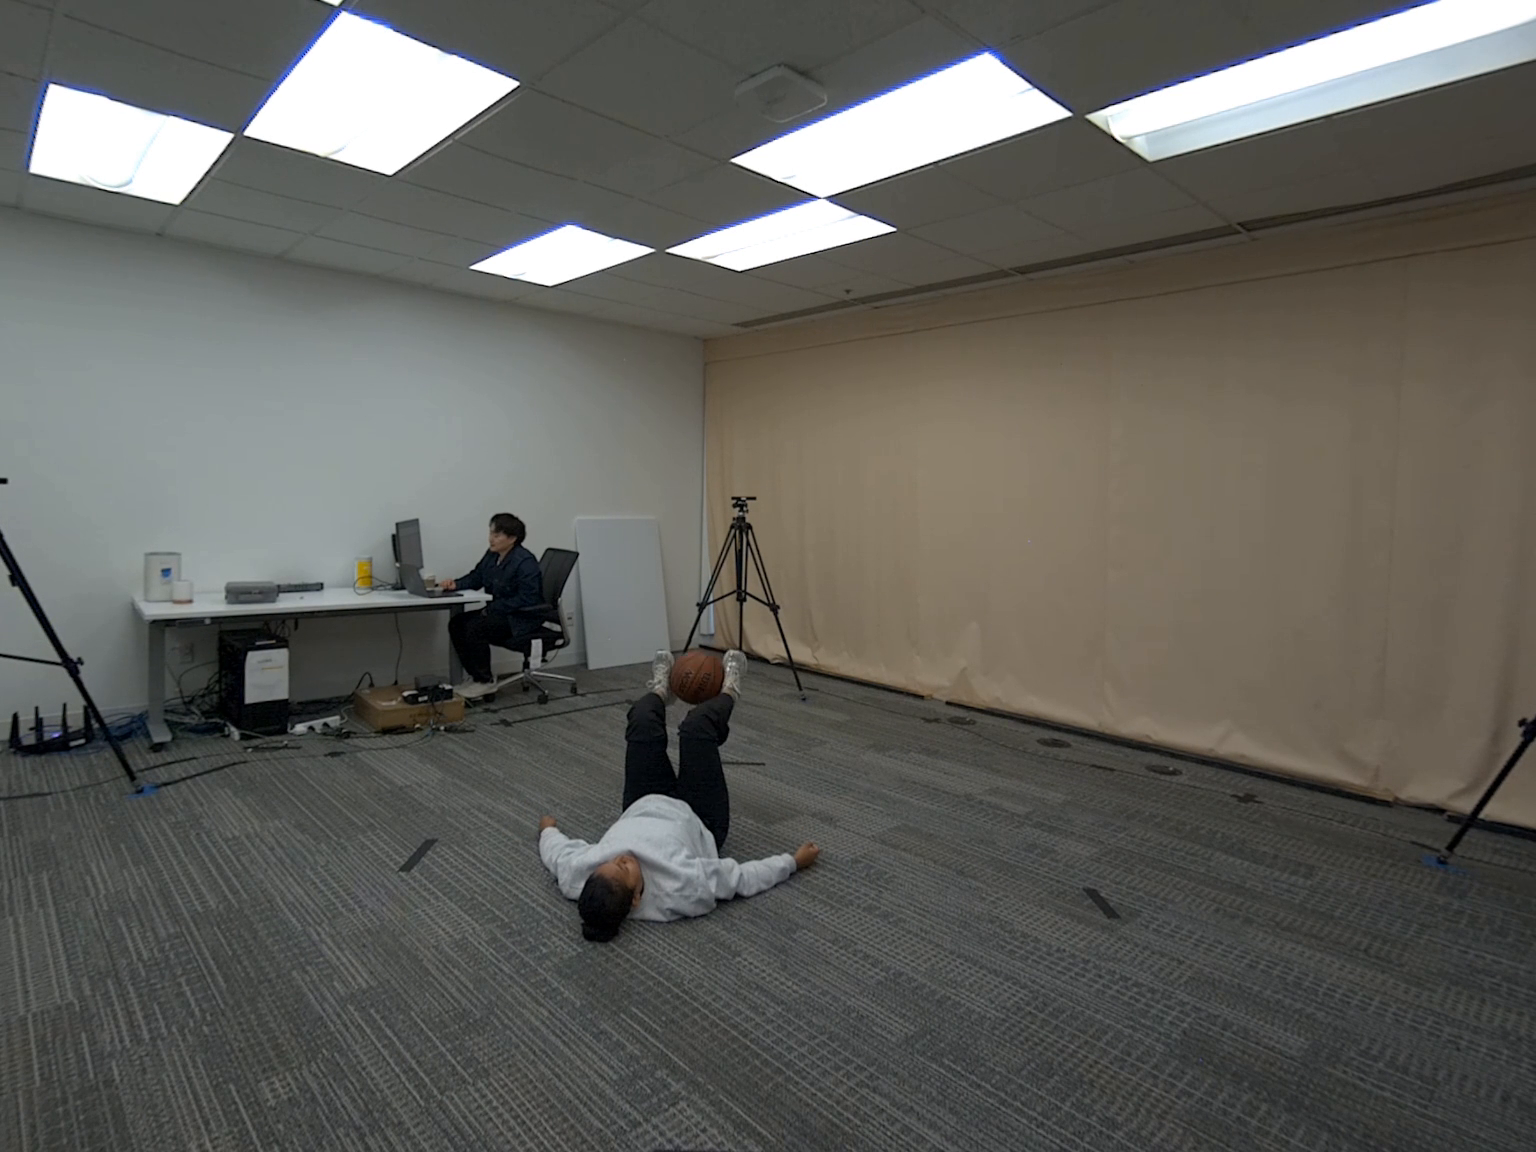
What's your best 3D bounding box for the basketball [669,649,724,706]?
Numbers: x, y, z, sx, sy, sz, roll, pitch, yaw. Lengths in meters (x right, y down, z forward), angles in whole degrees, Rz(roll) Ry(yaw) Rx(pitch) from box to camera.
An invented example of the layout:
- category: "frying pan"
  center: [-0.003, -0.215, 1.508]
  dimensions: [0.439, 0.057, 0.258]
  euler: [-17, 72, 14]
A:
- category: "basketball"
  center: [-0.314, 0.442, 3.662]
  dimensions: [0.235, 0.235, 0.237]
  euler: [4, 7, -2]
